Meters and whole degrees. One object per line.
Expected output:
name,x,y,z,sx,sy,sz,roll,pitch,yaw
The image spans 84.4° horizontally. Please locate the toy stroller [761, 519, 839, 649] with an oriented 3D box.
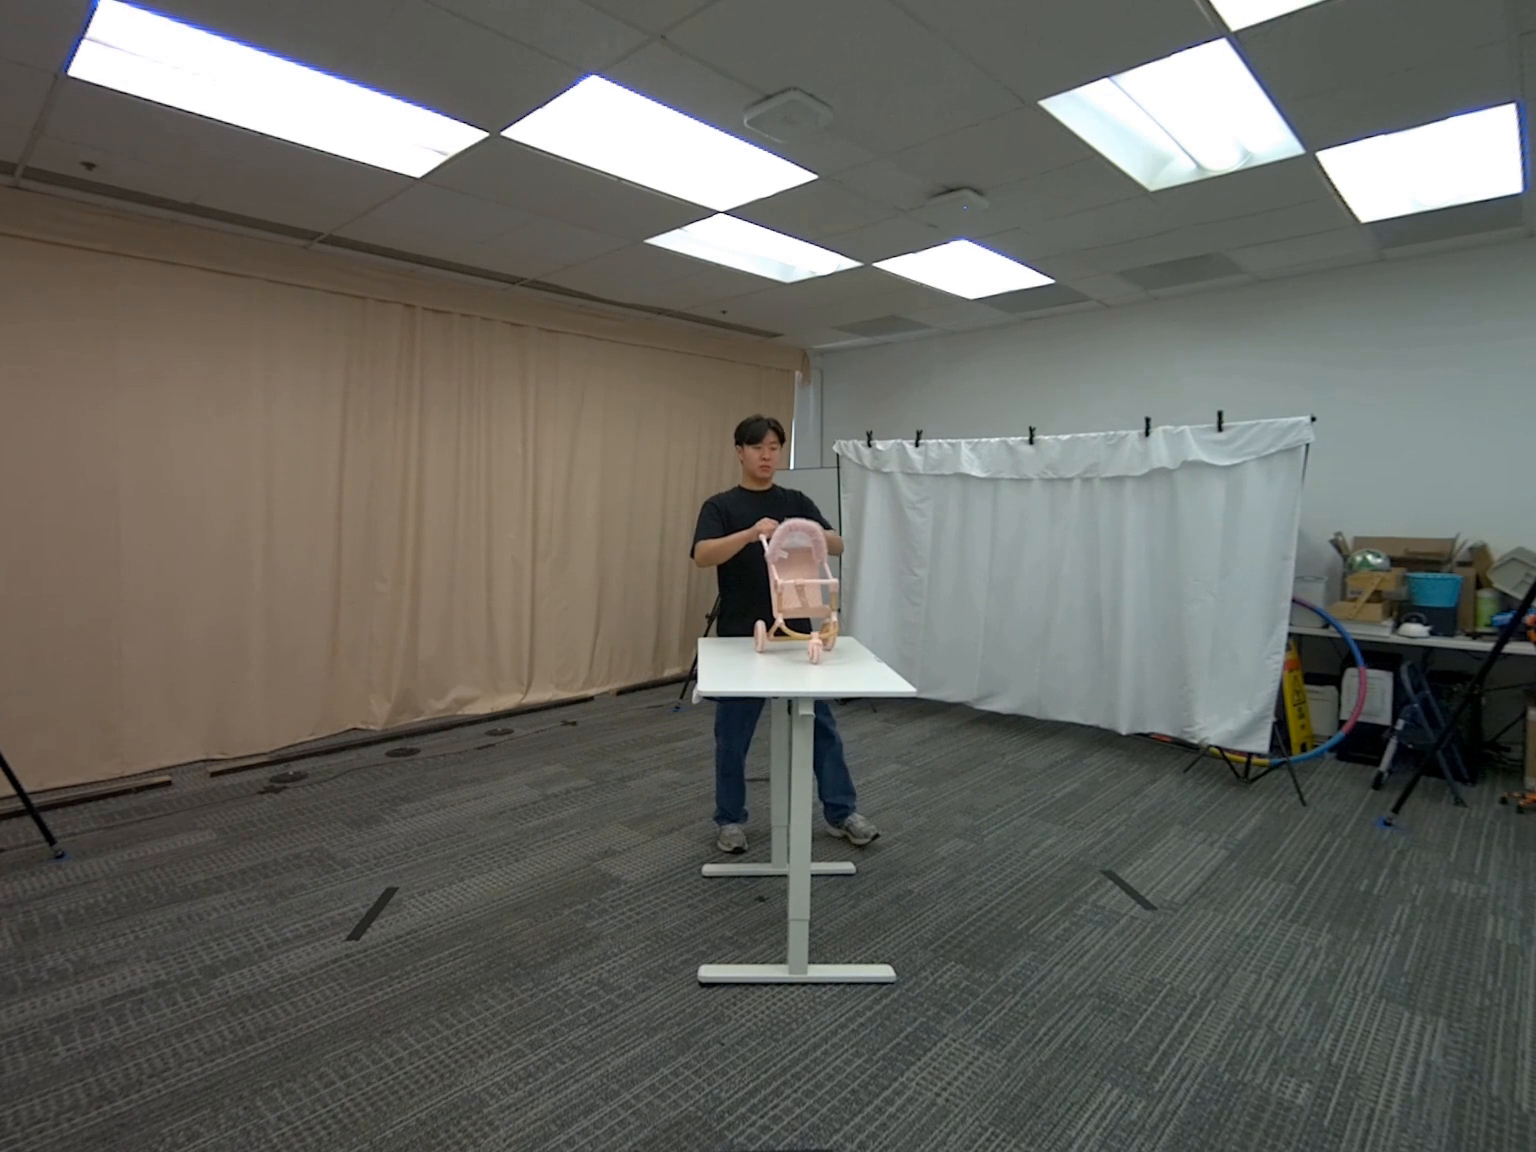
toy stroller,0.105,0.044,2.881,0.279,0.539,0.342,-2,-11,-9
